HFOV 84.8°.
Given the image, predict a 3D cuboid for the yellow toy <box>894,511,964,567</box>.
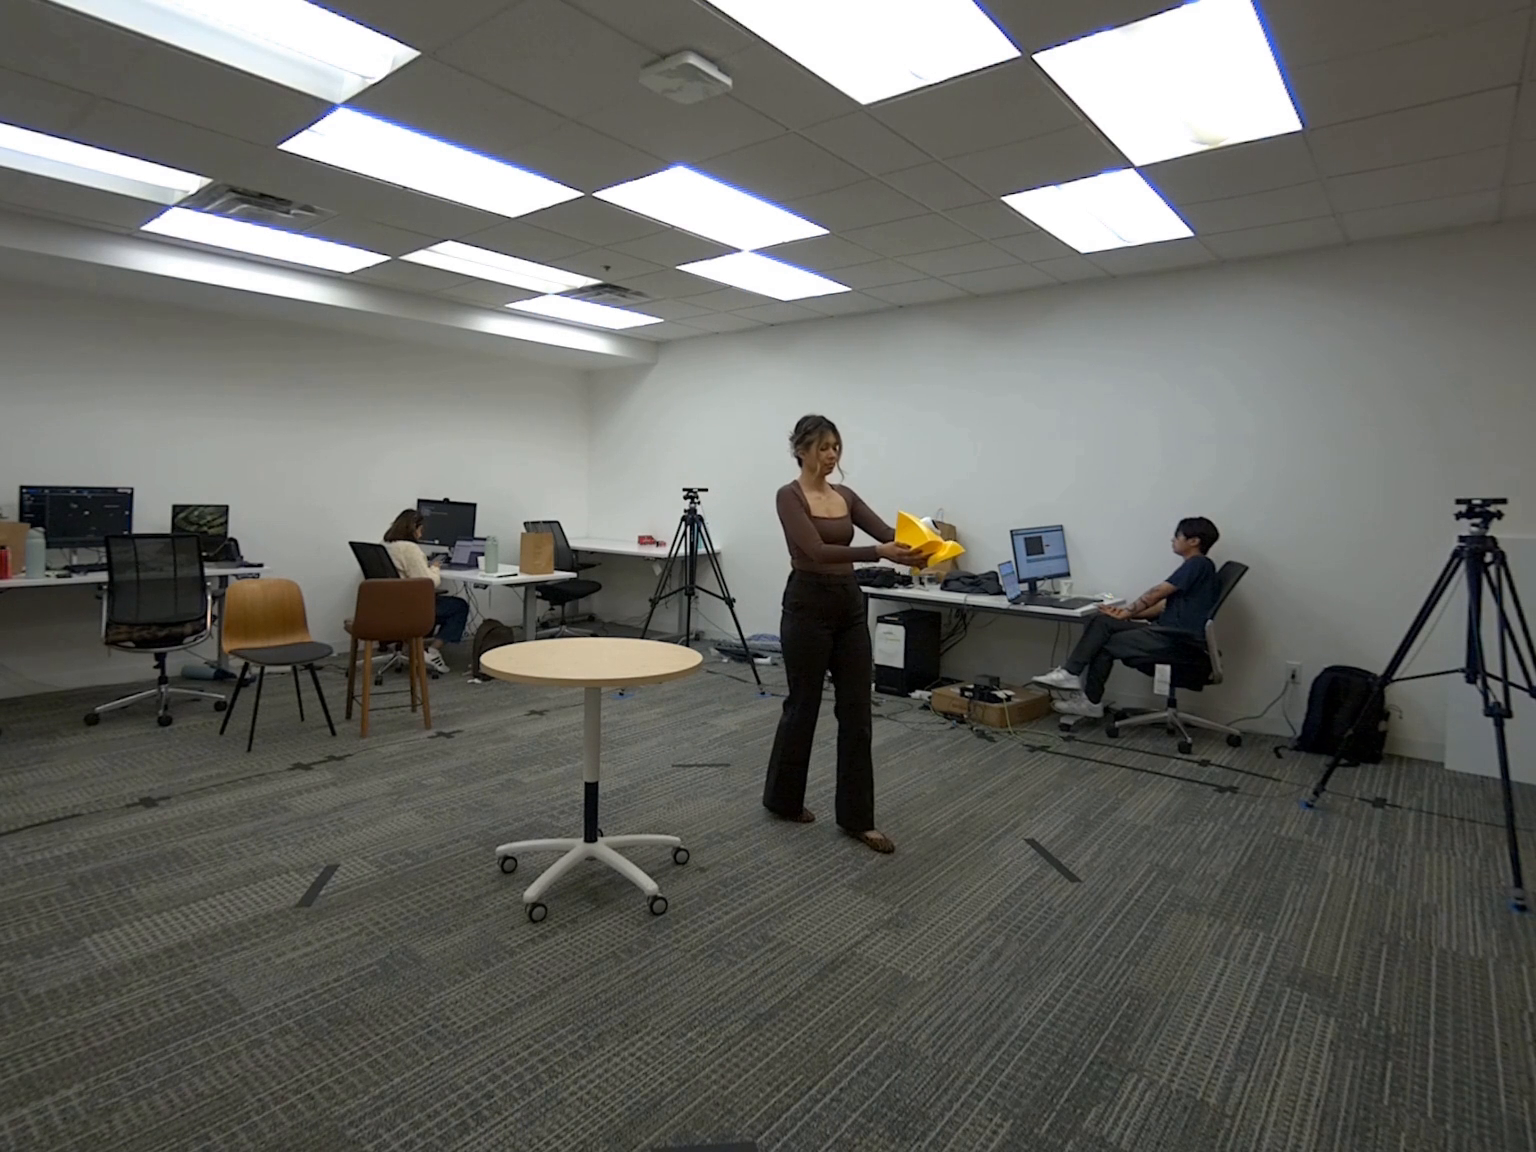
[{"bbox_3d":[0.560,-0.154,3.099,0.189,0.233,0.206,-19,-9,-34],"label":"yellow toy"}]
